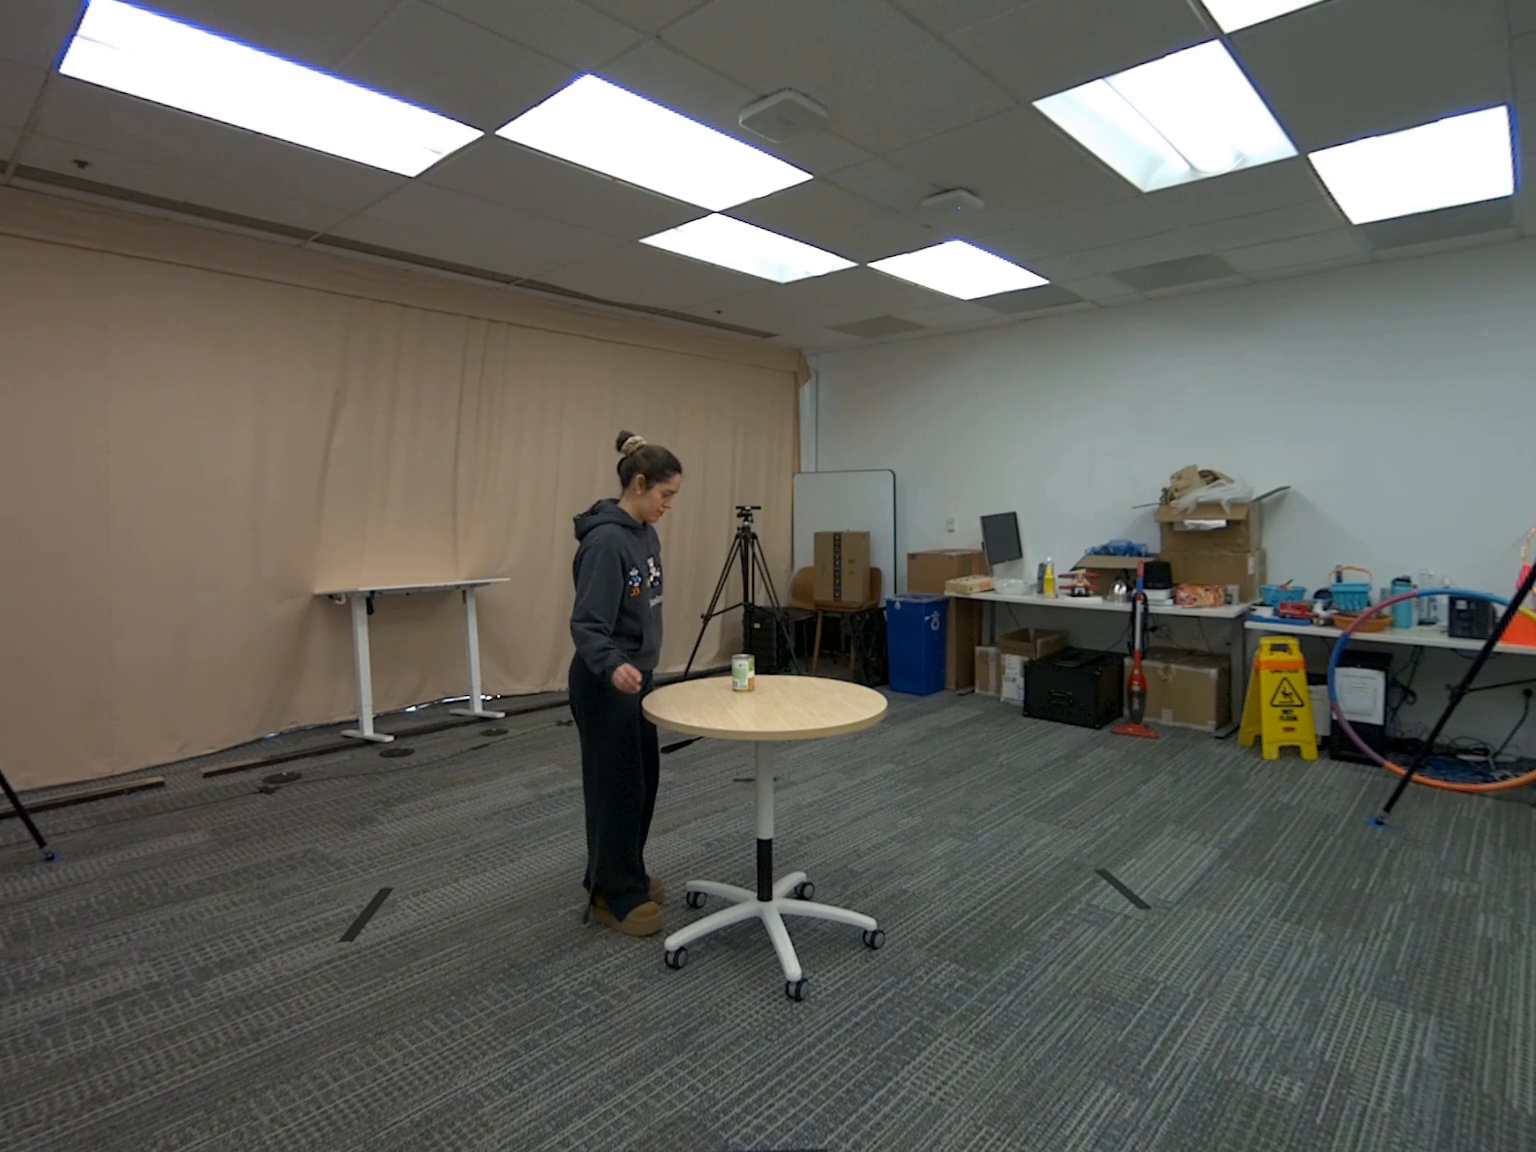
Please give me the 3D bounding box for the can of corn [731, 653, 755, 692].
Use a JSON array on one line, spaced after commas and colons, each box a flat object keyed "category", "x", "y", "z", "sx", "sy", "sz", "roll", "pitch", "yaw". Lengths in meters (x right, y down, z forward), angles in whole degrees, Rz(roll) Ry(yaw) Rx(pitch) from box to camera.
[{"category": "can of corn", "x": -0.070, "y": 0.325, "z": 2.781, "sx": 0.074, "sy": 0.111, "sz": 0.074, "roll": -3, "pitch": 3, "yaw": -2}]
